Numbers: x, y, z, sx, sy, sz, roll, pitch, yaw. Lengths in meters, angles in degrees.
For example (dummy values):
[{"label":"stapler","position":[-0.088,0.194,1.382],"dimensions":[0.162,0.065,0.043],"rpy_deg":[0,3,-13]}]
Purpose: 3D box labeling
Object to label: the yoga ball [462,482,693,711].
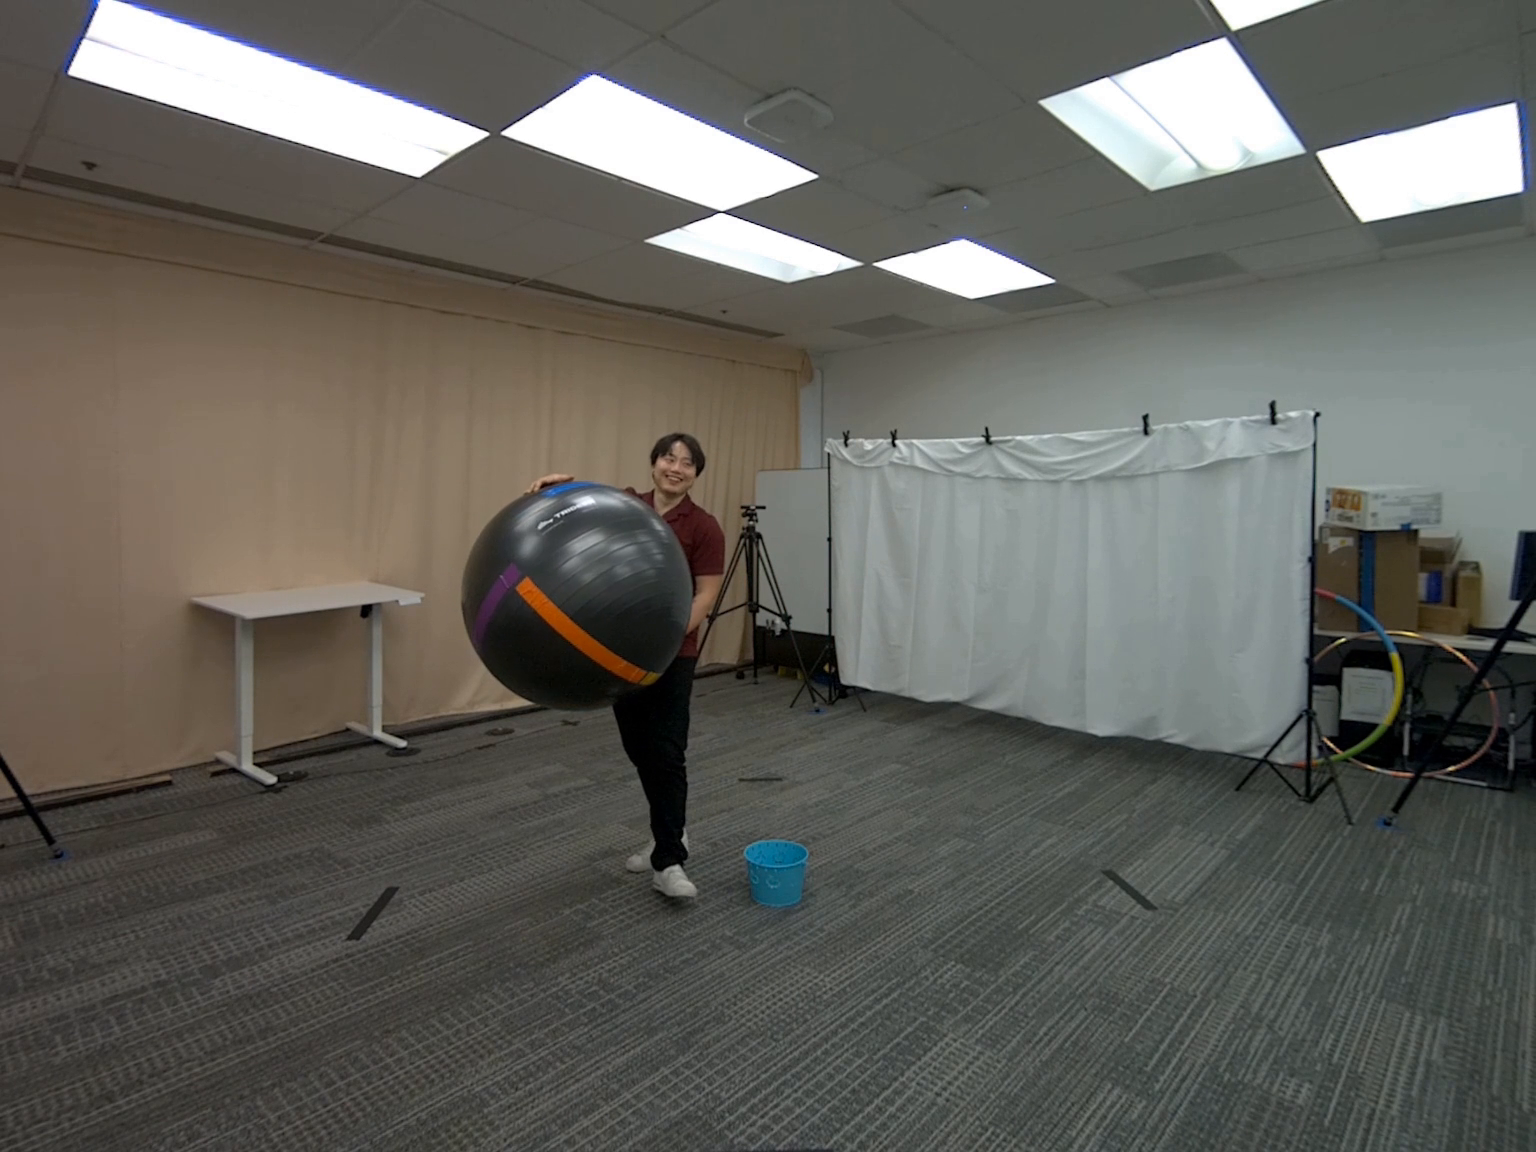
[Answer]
[{"label":"yoga ball","position":[-0.640,0.066,2.804],"dimensions":[0.757,0.756,0.761],"rpy_deg":[0,4,-2]}]
